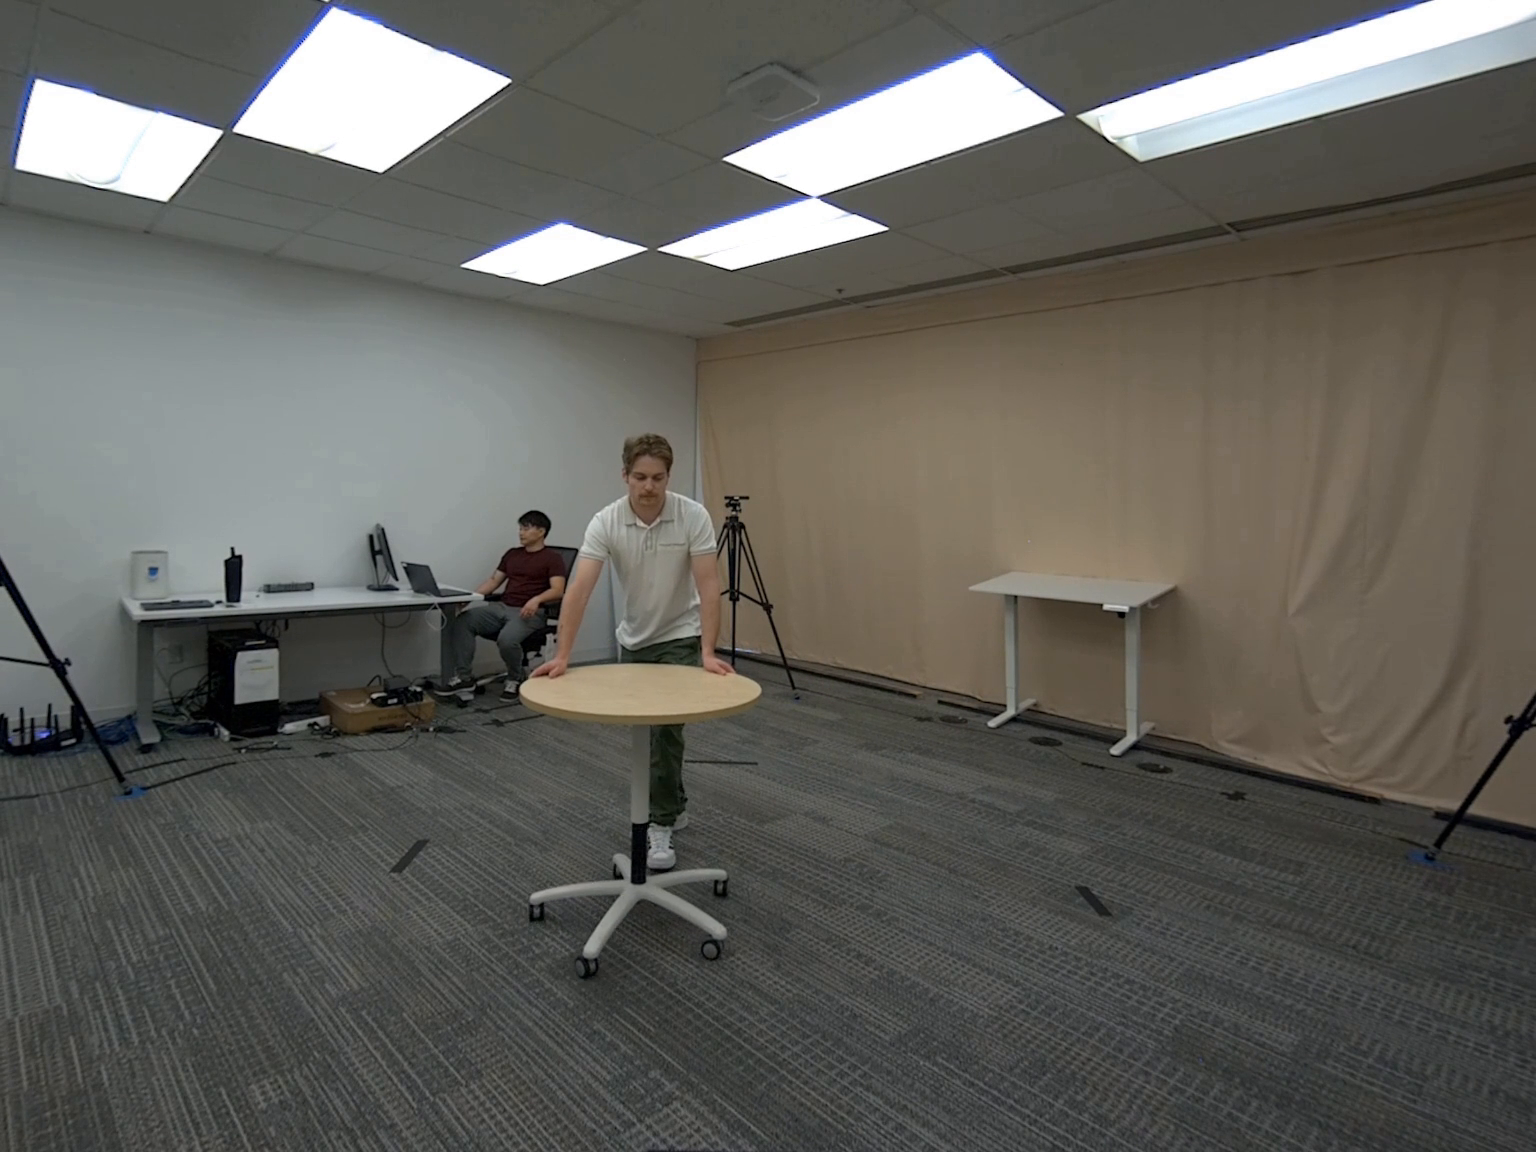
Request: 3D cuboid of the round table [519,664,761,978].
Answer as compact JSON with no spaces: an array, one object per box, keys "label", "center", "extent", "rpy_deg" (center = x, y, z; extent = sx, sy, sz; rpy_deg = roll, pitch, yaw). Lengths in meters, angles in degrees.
[{"label":"round table","center":[-0.424,0.747,2.710],"extent":[0.763,0.792,0.766],"rpy_deg":[1,4,-1]}]
